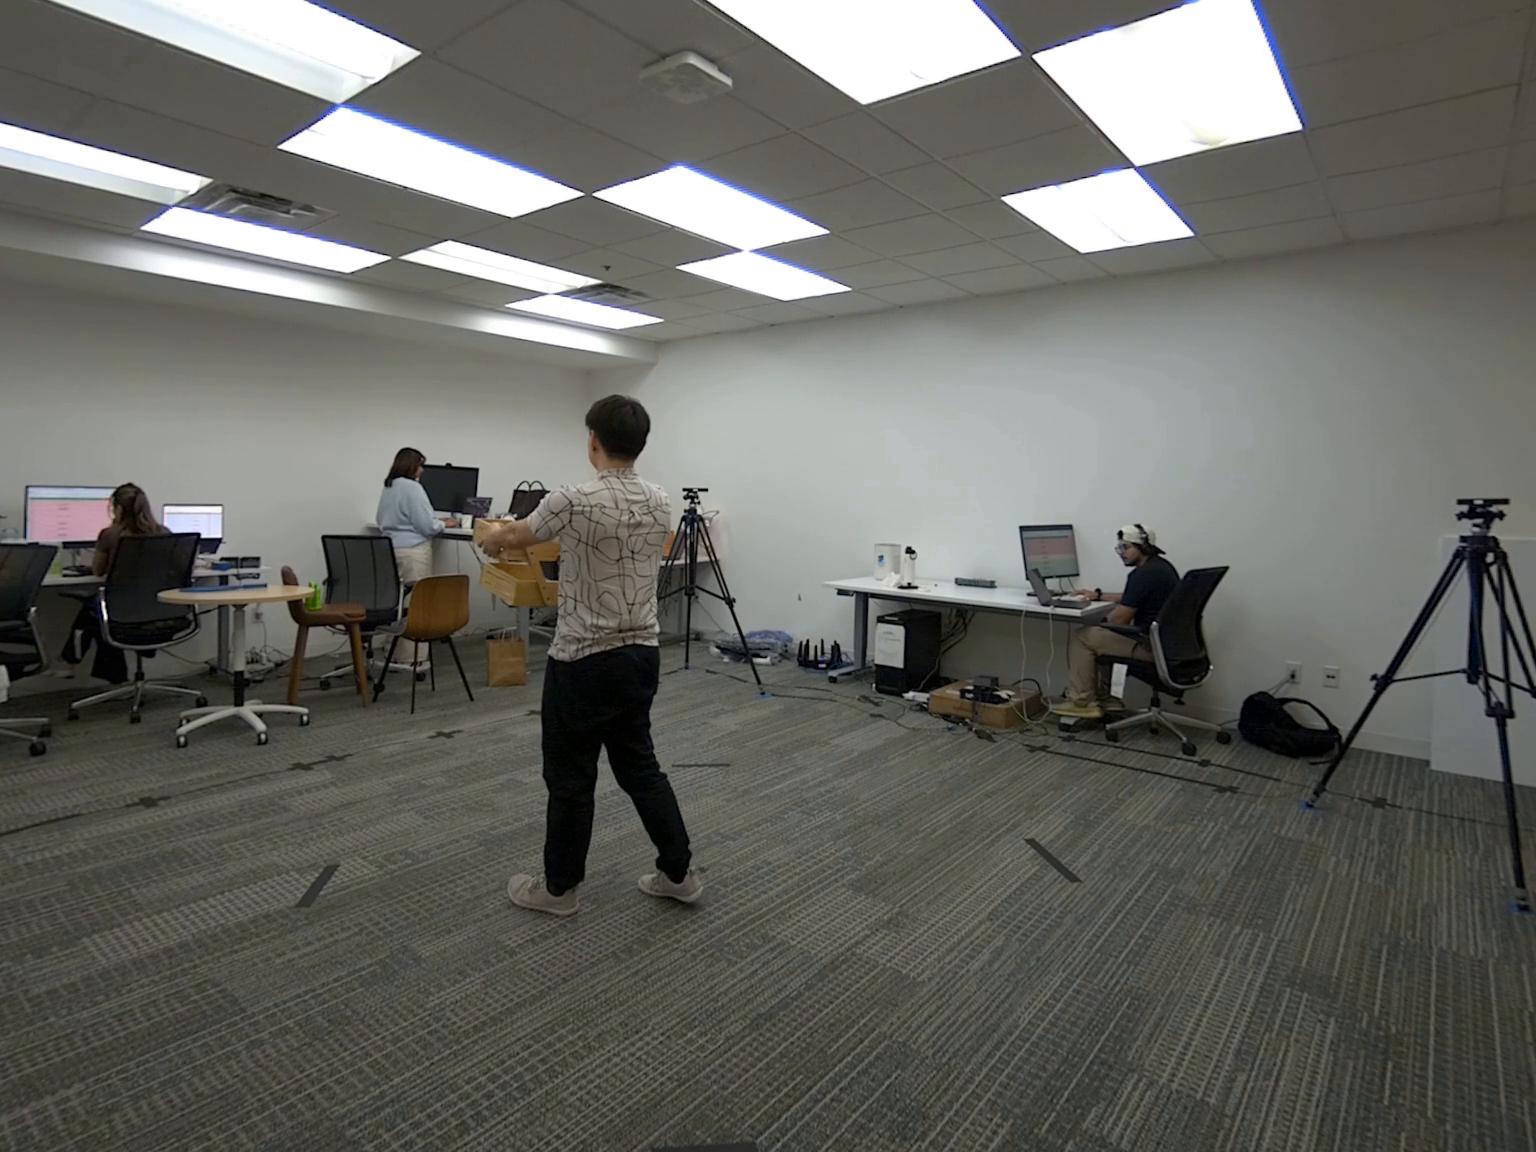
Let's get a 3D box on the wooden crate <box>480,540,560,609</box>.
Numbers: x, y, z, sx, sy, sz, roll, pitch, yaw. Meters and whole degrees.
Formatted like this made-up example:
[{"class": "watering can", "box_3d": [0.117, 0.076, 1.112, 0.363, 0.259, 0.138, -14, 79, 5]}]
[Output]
[{"class": "wooden crate", "box_3d": [-0.910, -0.062, 3.182, 0.292, 0.272, 0.337, 3, 11, -43]}]
